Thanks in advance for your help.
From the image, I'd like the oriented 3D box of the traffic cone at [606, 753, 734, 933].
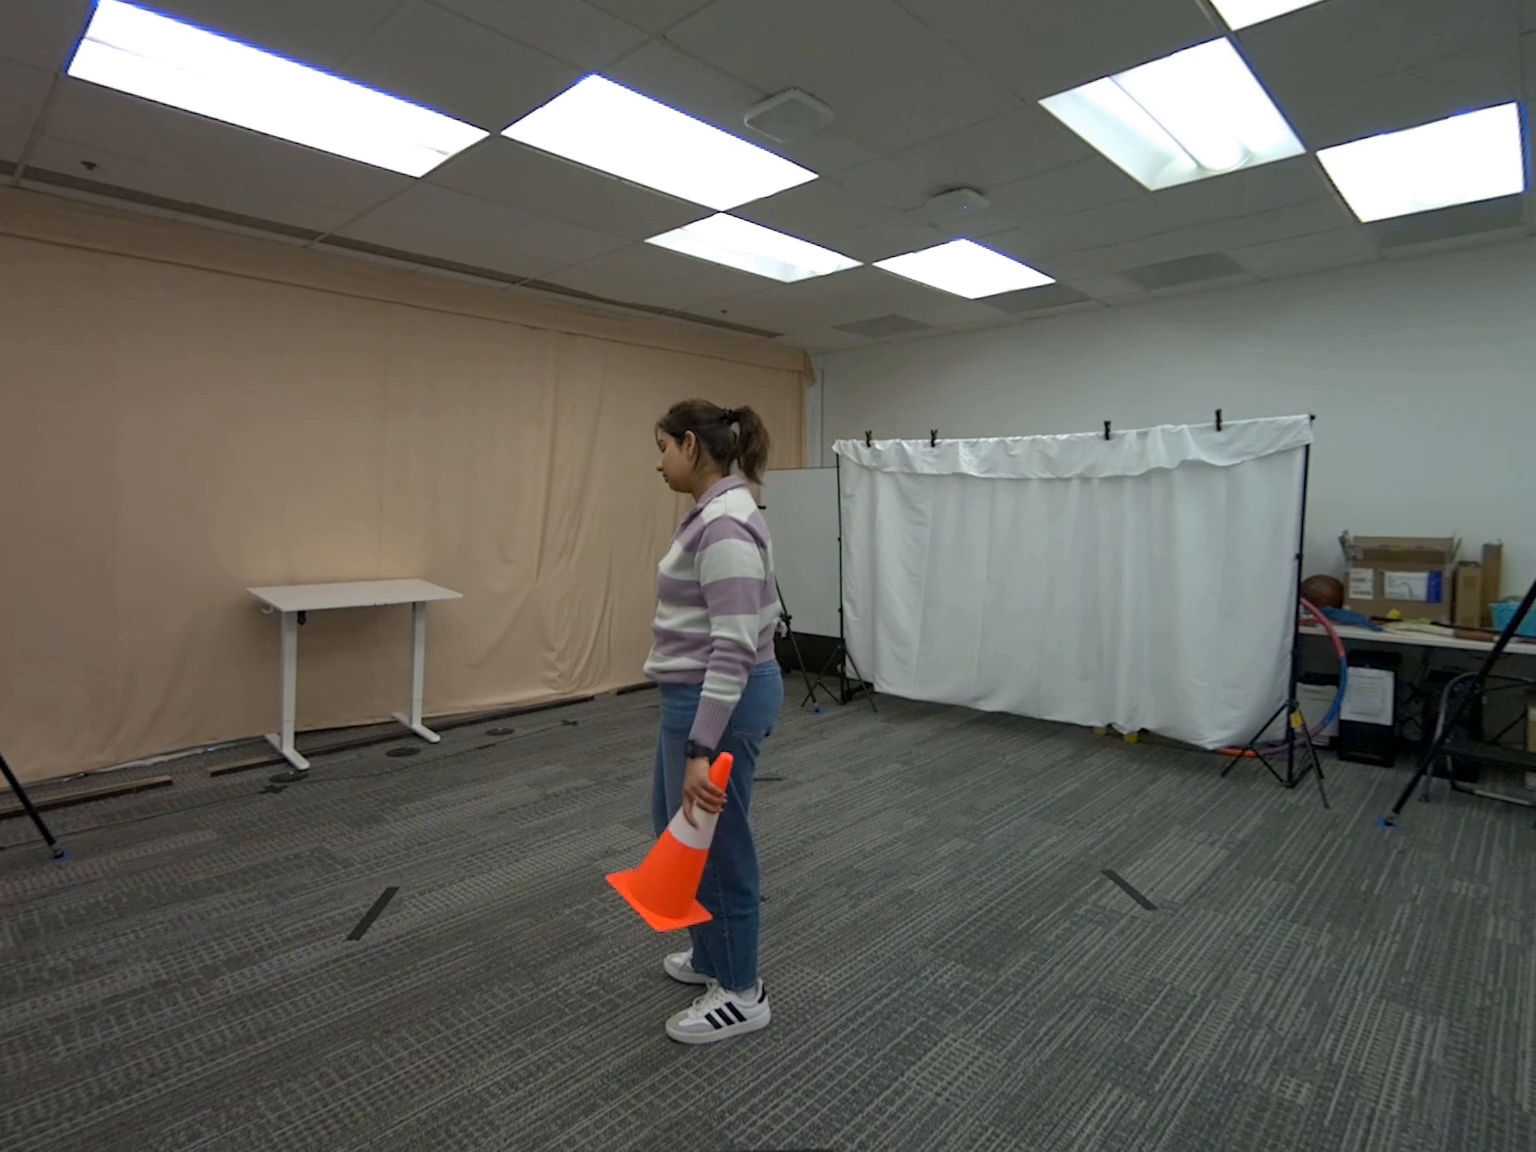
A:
[{"bbox_3d":[-0.165,0.574,1.938,0.210,0.383,0.198,29,8,34],"label":"traffic cone"}]
